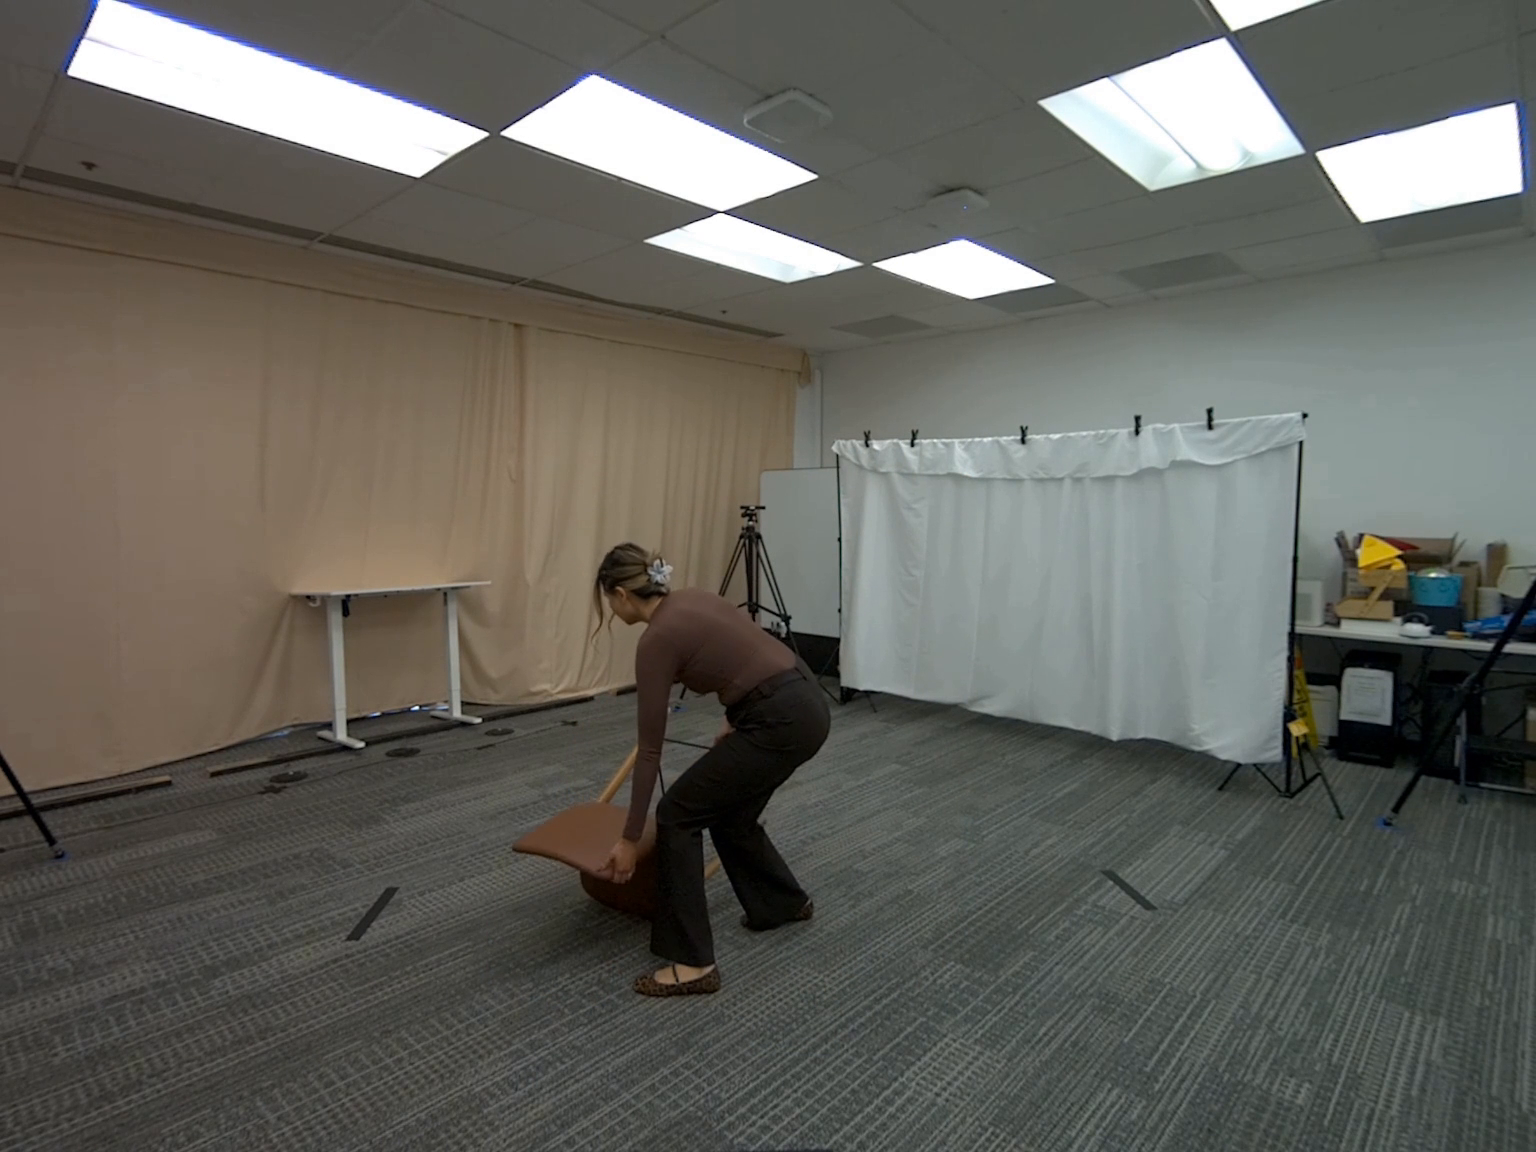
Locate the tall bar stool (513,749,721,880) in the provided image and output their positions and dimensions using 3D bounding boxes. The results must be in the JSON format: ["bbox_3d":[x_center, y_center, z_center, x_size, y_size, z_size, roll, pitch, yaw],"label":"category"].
[{"bbox_3d":[-0.412,0.896,2.934,0.470,0.461,0.876,3,22,30],"label":"tall bar stool"}]
